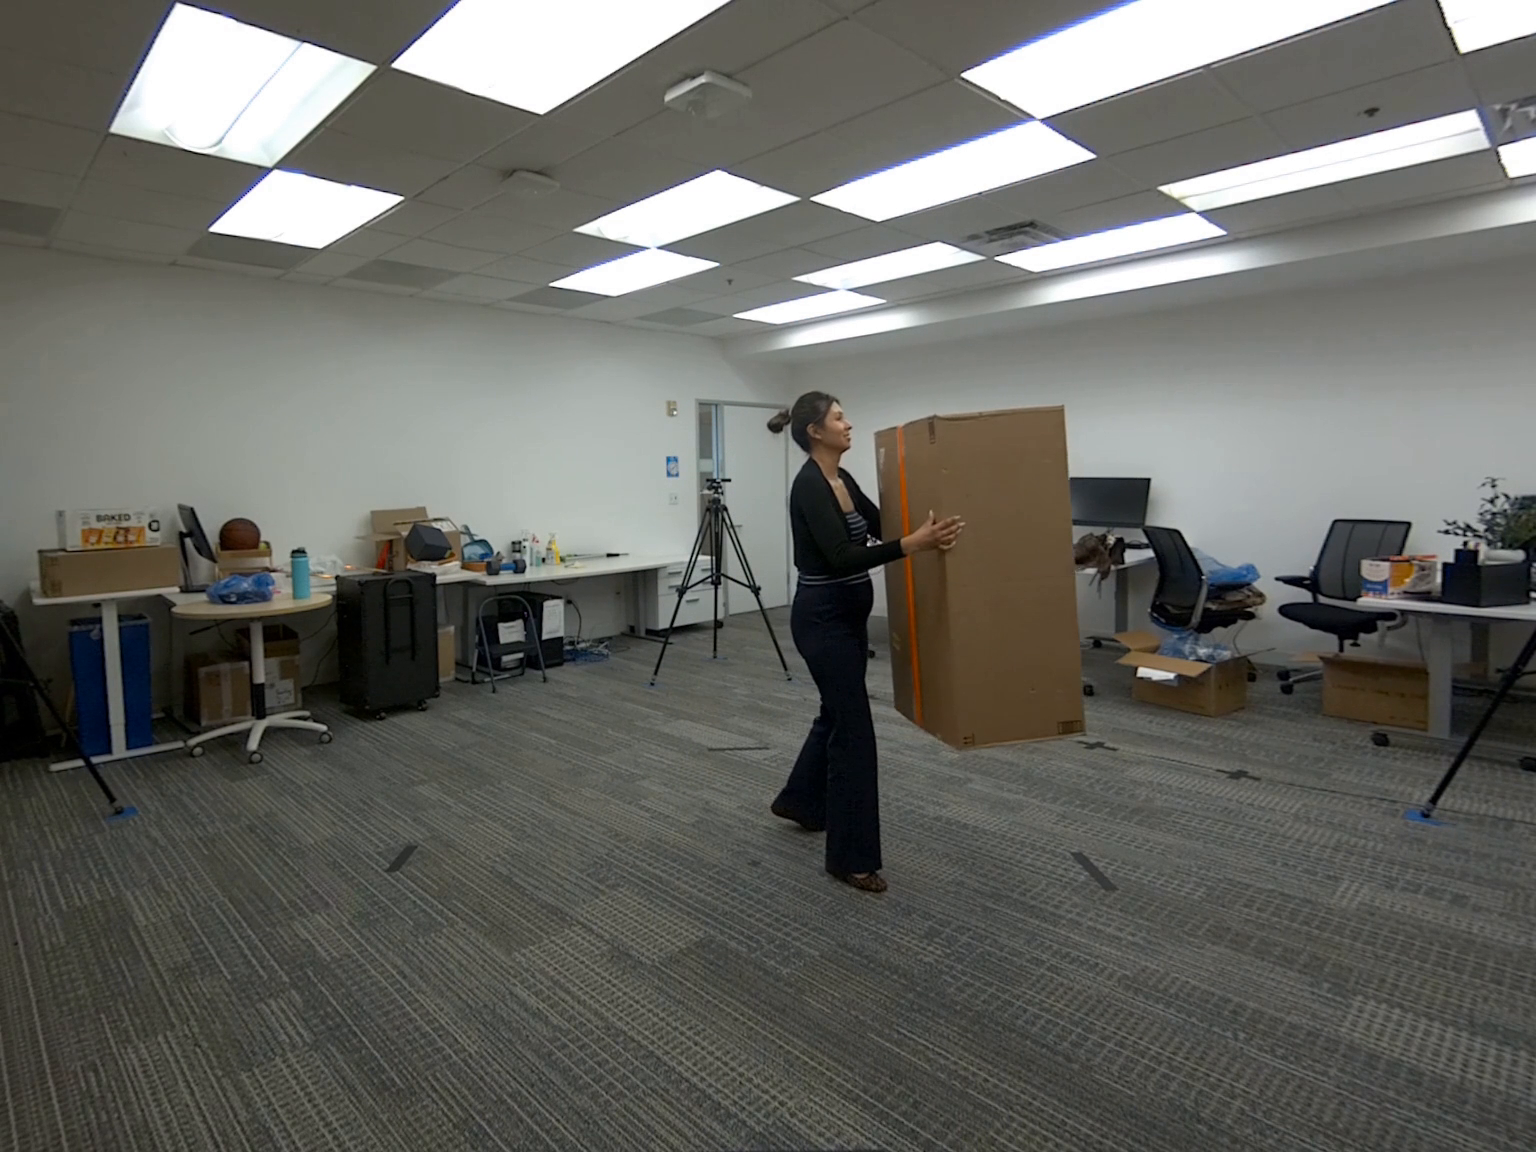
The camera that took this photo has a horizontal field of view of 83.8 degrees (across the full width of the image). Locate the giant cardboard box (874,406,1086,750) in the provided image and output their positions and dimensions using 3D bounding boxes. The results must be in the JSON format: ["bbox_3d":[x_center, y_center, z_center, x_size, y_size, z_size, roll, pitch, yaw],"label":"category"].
[{"bbox_3d":[0.688,-0.013,2.875,0.423,1.023,0.584,-5,3,-10],"label":"giant cardboard box"}]
